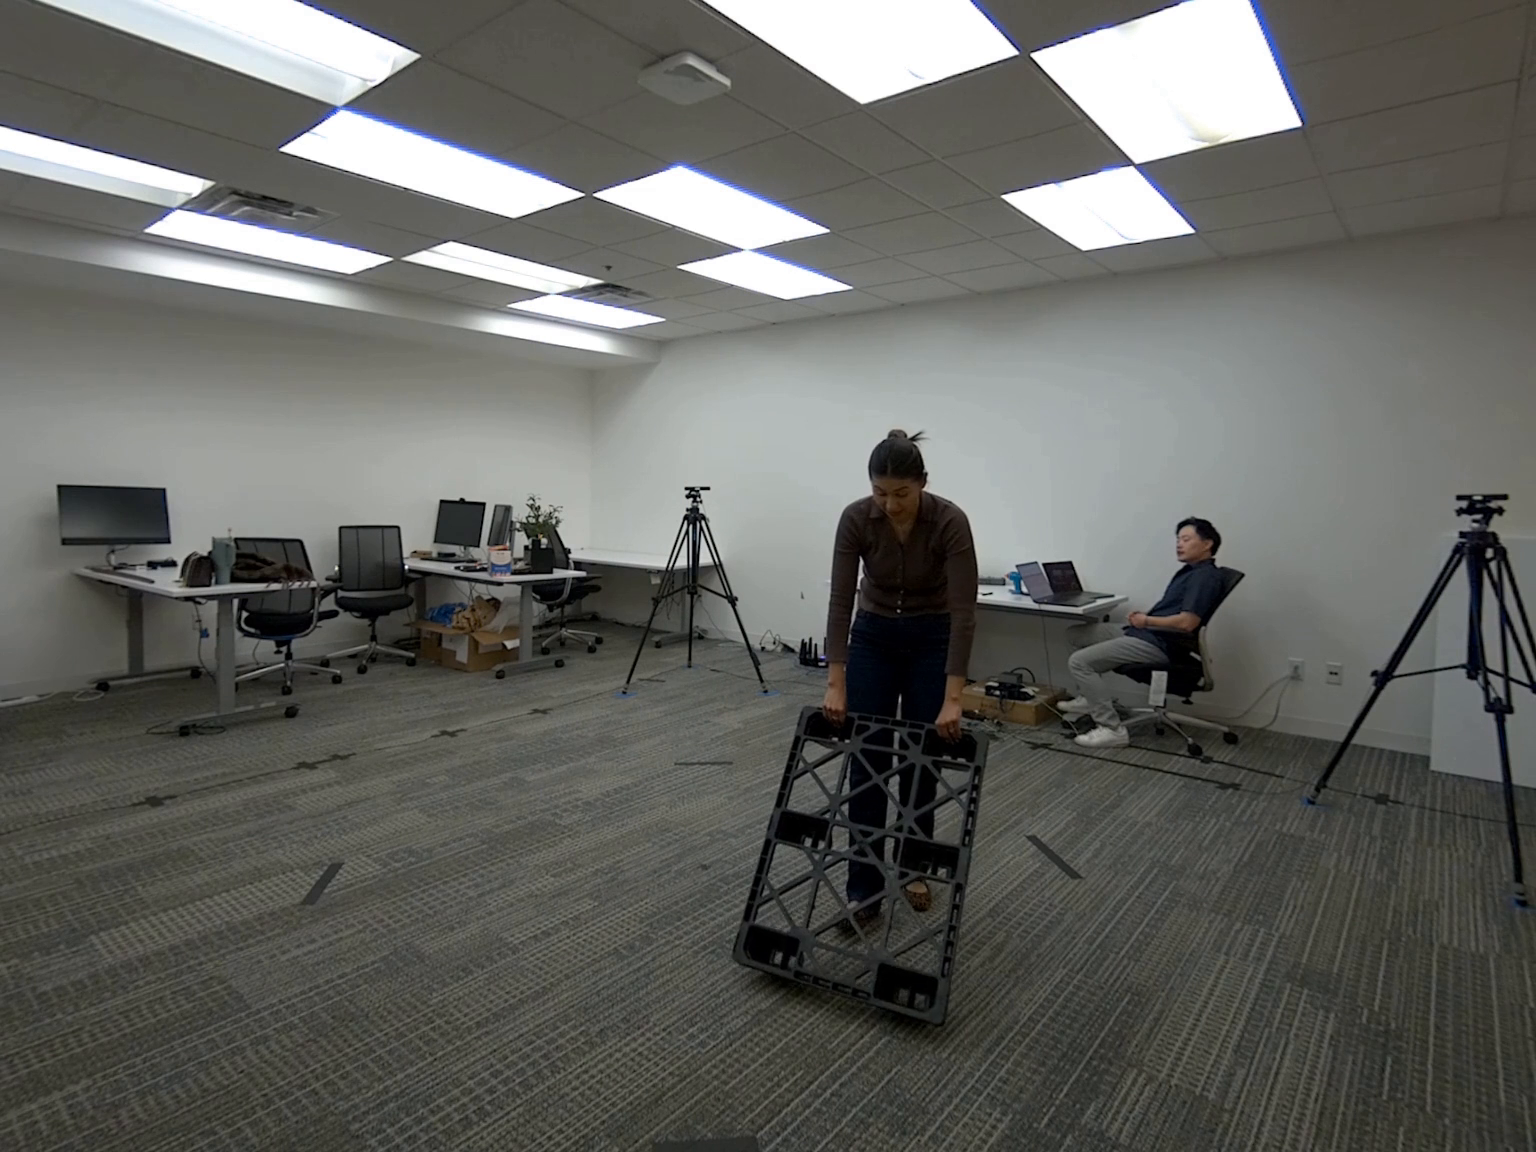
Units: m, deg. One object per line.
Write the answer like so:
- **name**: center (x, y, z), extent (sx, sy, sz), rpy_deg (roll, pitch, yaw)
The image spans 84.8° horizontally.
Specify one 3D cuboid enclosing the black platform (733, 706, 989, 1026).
- **black platform**: center (0.295, 0.803, 2.512), extent (0.621, 0.817, 0.137), rpy_deg (3, -33, 25)
